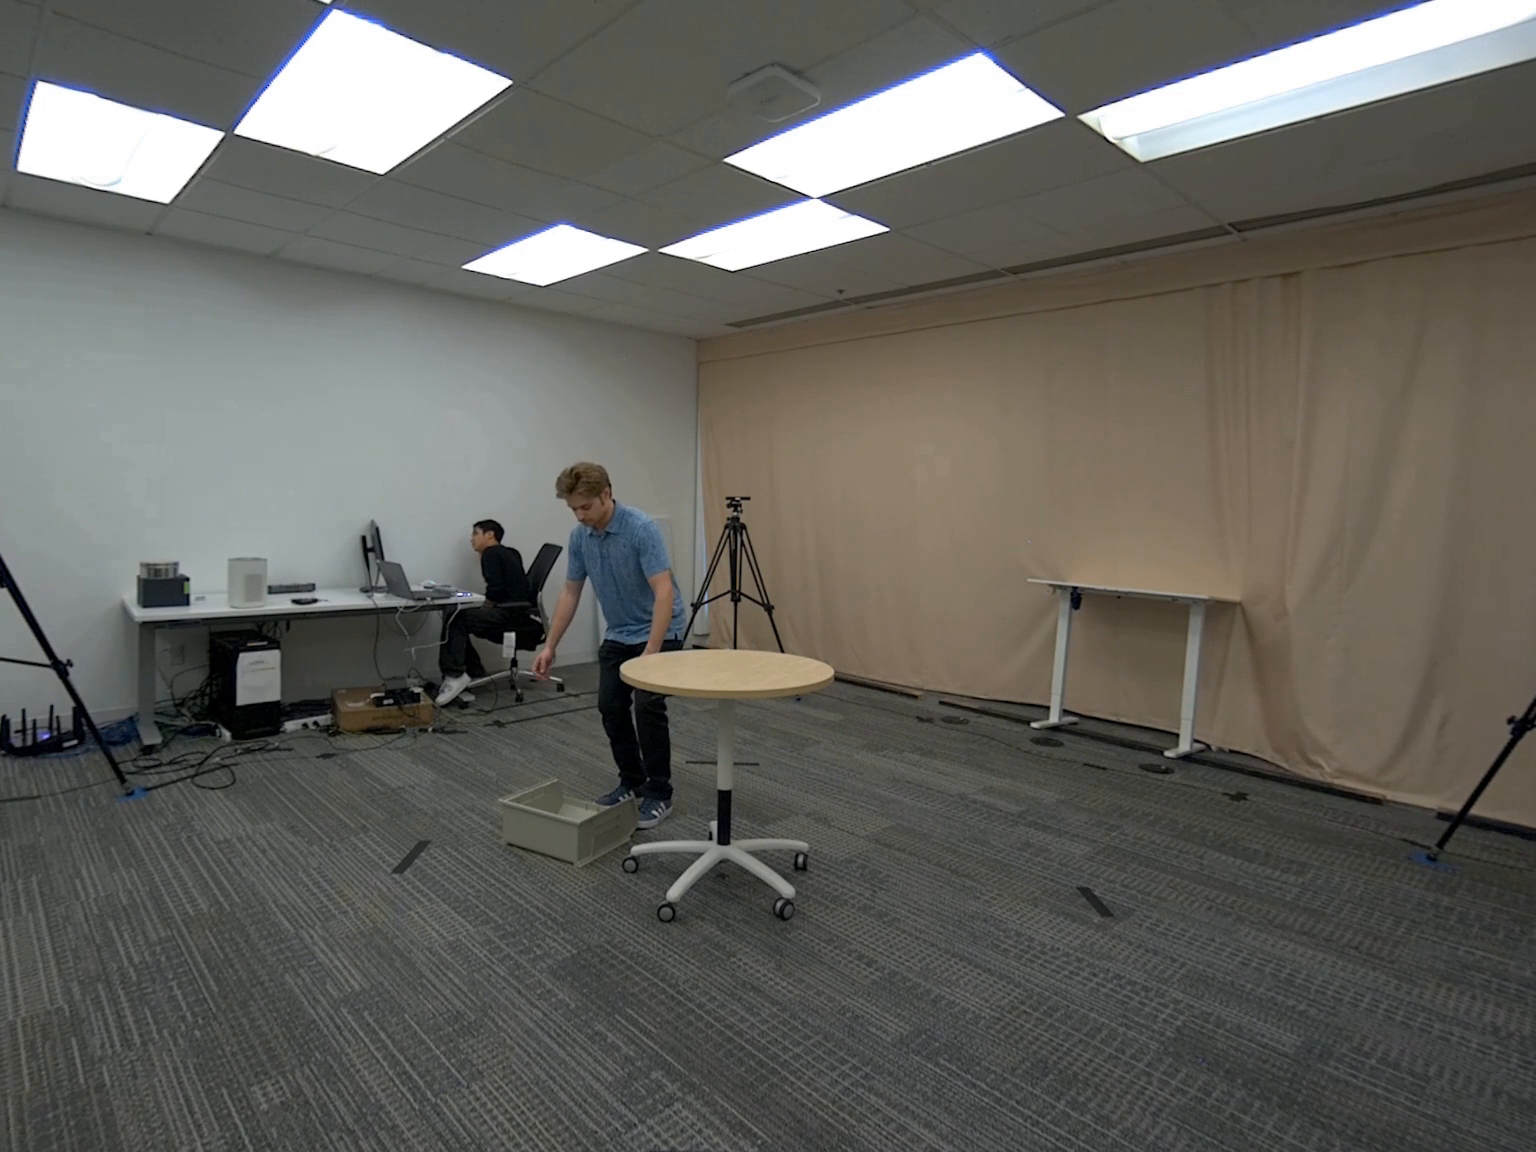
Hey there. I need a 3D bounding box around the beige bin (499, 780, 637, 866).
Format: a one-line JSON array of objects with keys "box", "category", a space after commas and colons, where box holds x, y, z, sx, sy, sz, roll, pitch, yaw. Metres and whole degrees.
[{"box": [-0.807, 0.979, 3.393, 0.431, 0.188, 0.370, 4, 7, 29], "category": "beige bin"}]
